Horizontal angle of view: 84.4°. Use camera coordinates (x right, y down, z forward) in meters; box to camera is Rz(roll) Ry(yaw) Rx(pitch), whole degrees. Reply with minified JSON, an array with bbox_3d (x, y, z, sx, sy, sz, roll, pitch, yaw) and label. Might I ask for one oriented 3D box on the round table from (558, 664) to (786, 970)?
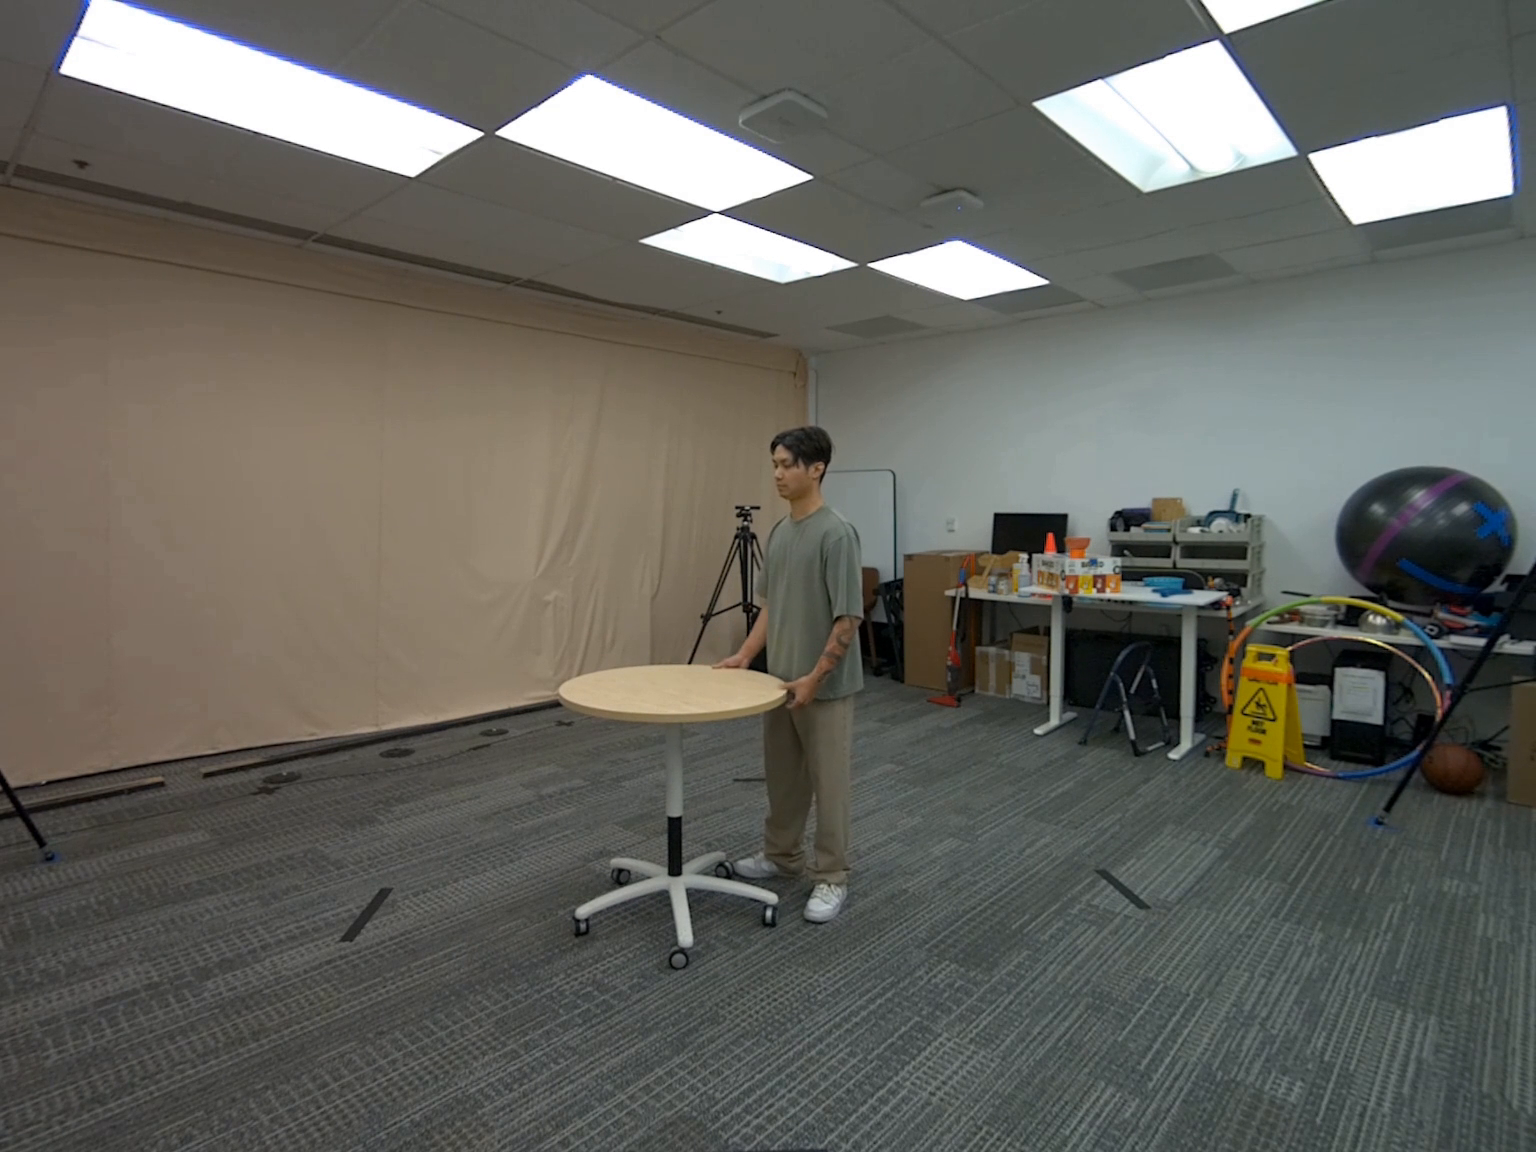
[{"bbox_3d":[-0.334,0.766,2.856,0.784,0.785,0.787,1,3,-2],"label":"round table"}]
